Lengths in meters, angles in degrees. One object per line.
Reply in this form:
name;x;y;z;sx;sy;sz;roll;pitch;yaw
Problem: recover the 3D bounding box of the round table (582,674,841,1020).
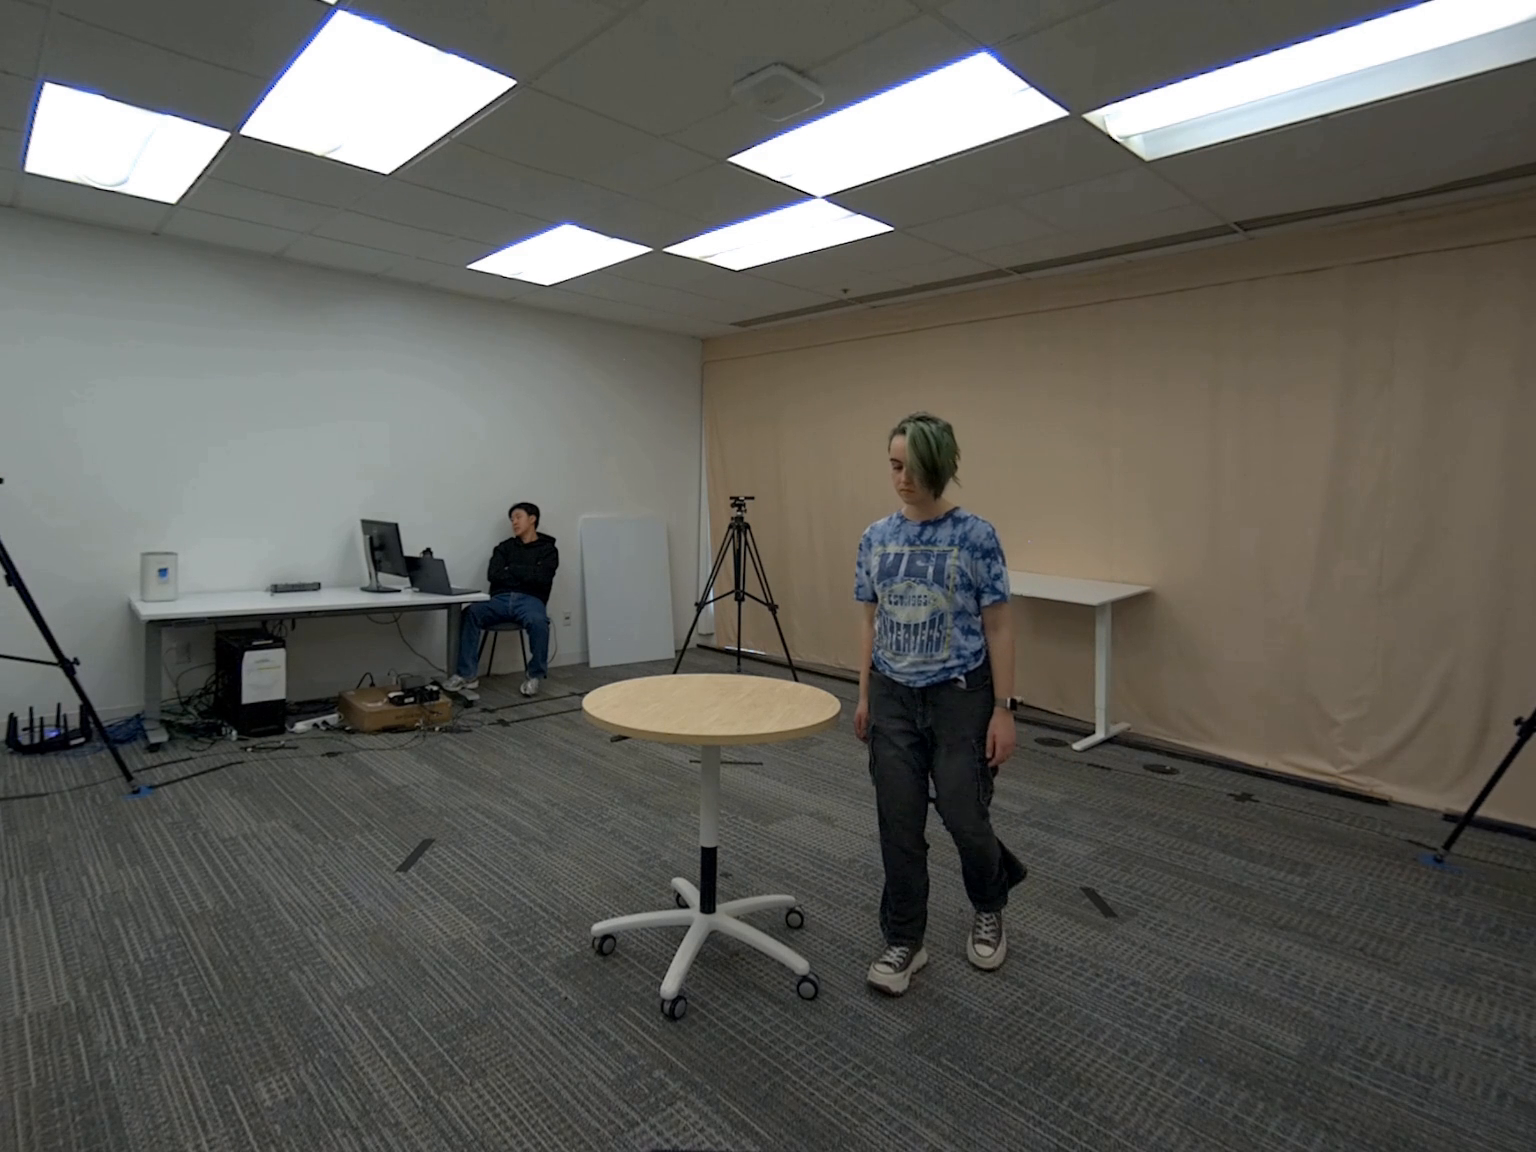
round table;-0.175;0.763;2.544;0.763;0.792;0.767;1;4;-1
